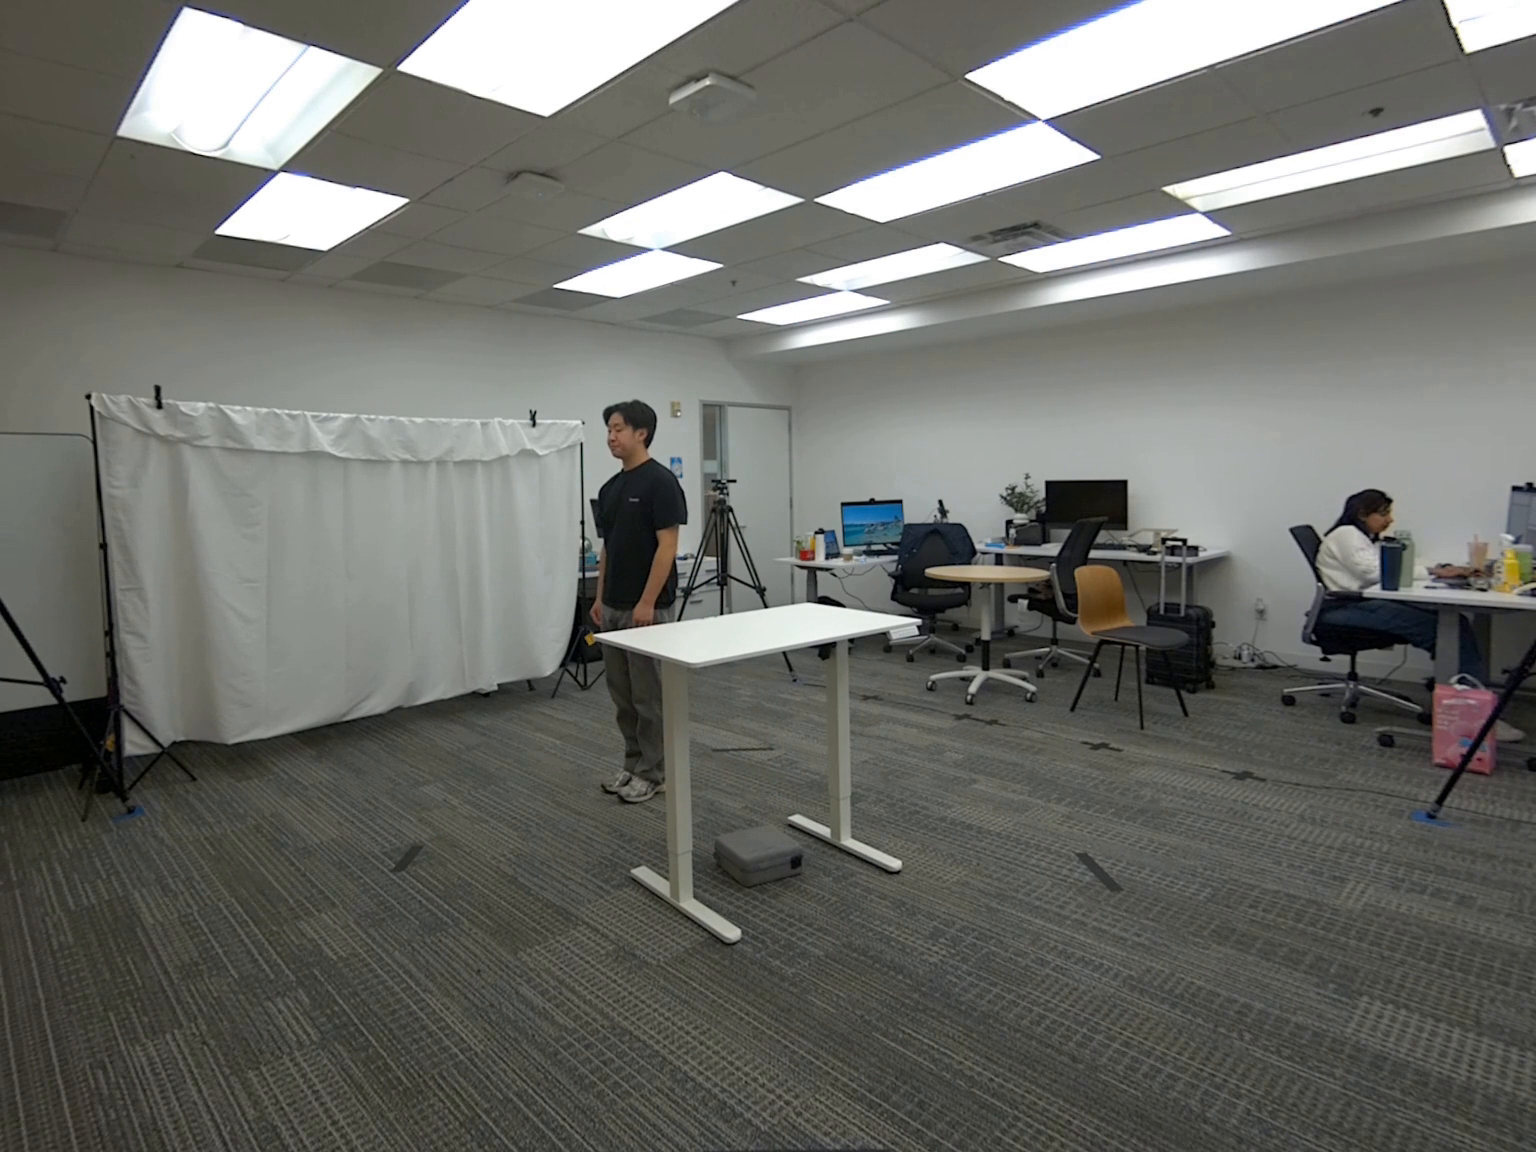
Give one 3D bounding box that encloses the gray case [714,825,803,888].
[{"bbox_3d":[-0.027,0.994,3.064,0.257,0.102,0.295,-4,7,-28],"label":"gray case"}]
